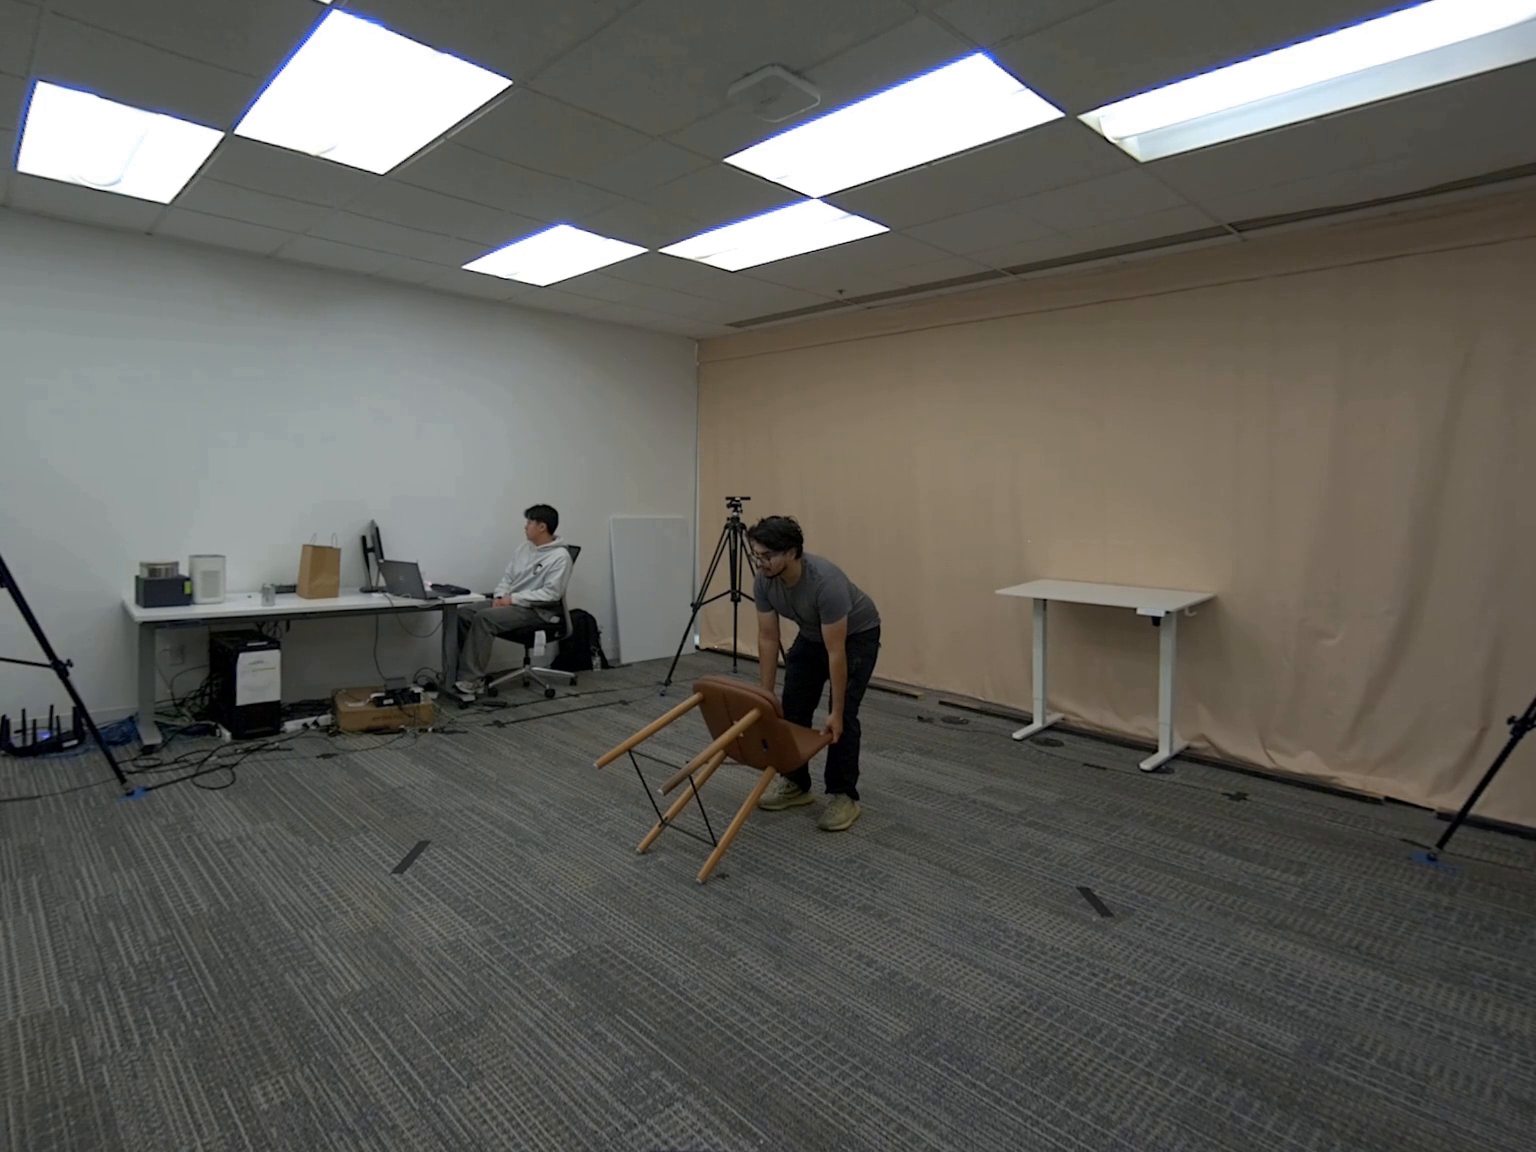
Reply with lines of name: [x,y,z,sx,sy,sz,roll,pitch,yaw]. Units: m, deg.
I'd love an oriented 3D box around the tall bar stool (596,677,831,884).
tall bar stool: [-0.176,0.689,3.338,0.468,0.459,0.884,5,32,44]
